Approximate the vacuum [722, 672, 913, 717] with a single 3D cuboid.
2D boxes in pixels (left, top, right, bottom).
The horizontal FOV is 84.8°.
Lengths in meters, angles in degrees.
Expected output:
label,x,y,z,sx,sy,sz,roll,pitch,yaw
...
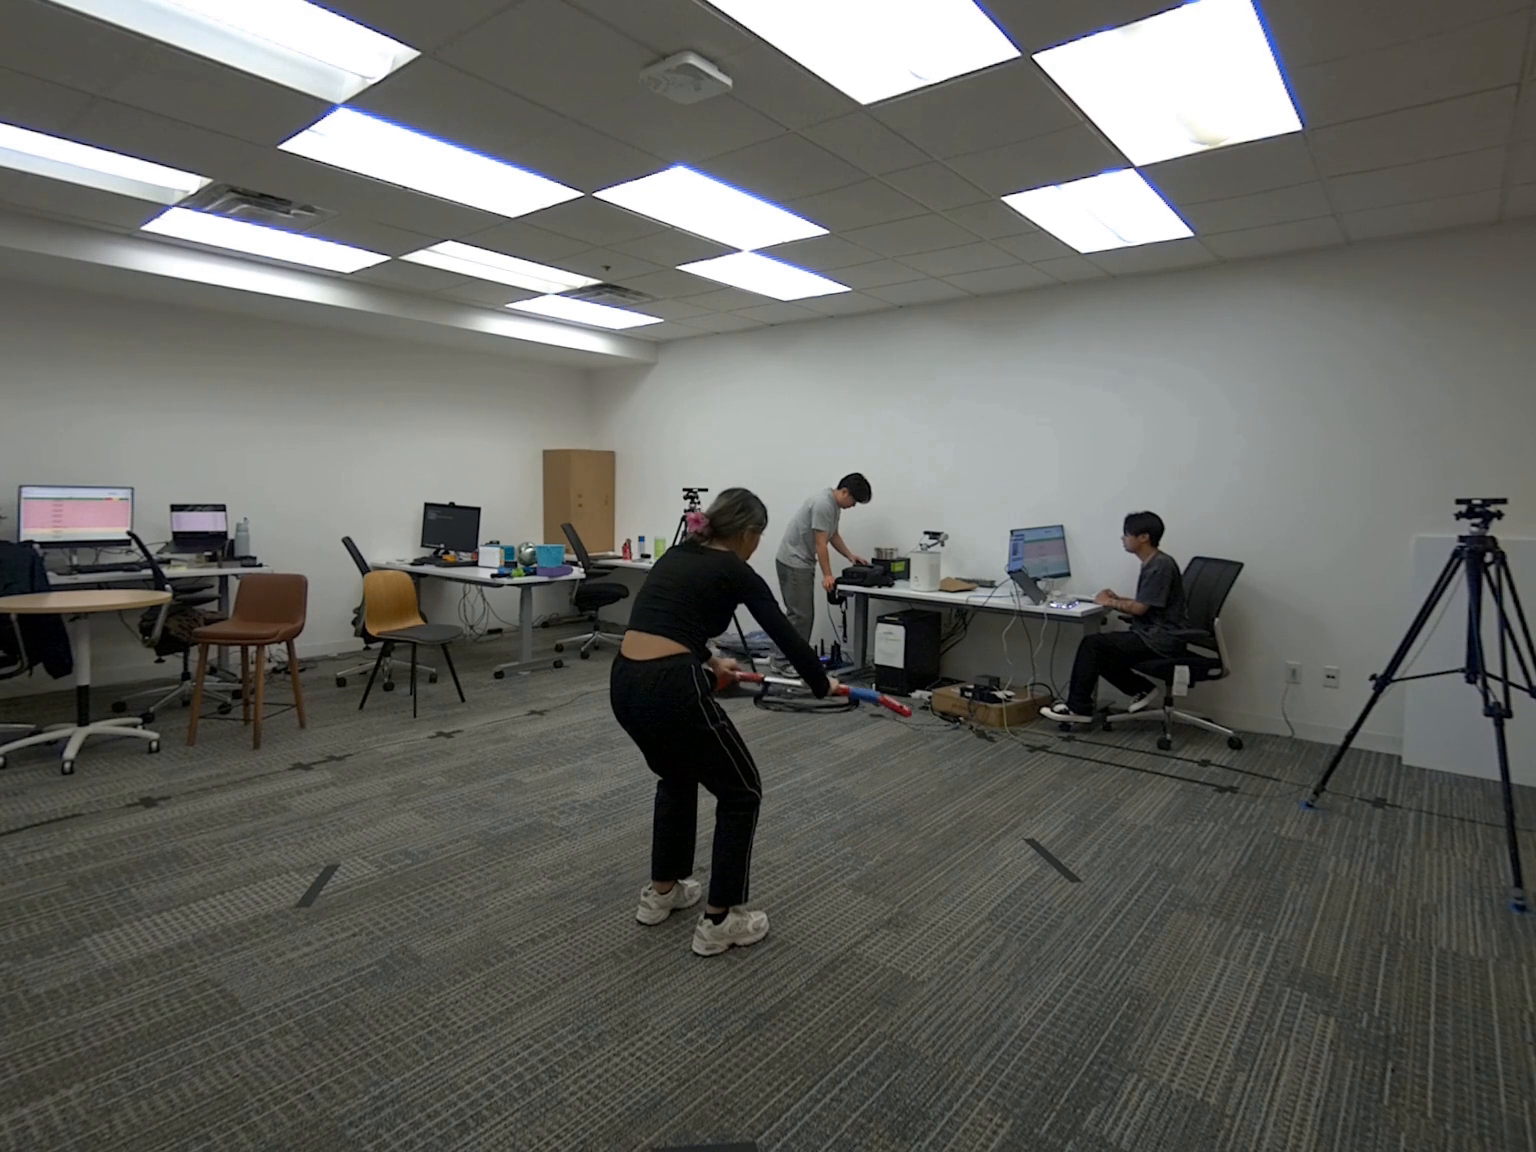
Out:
label,x,y,z,sx,sy,sz,roll,pitch,yaw
vacuum,-0.002,0.401,2.971,1.084,0.140,0.251,4,33,37
